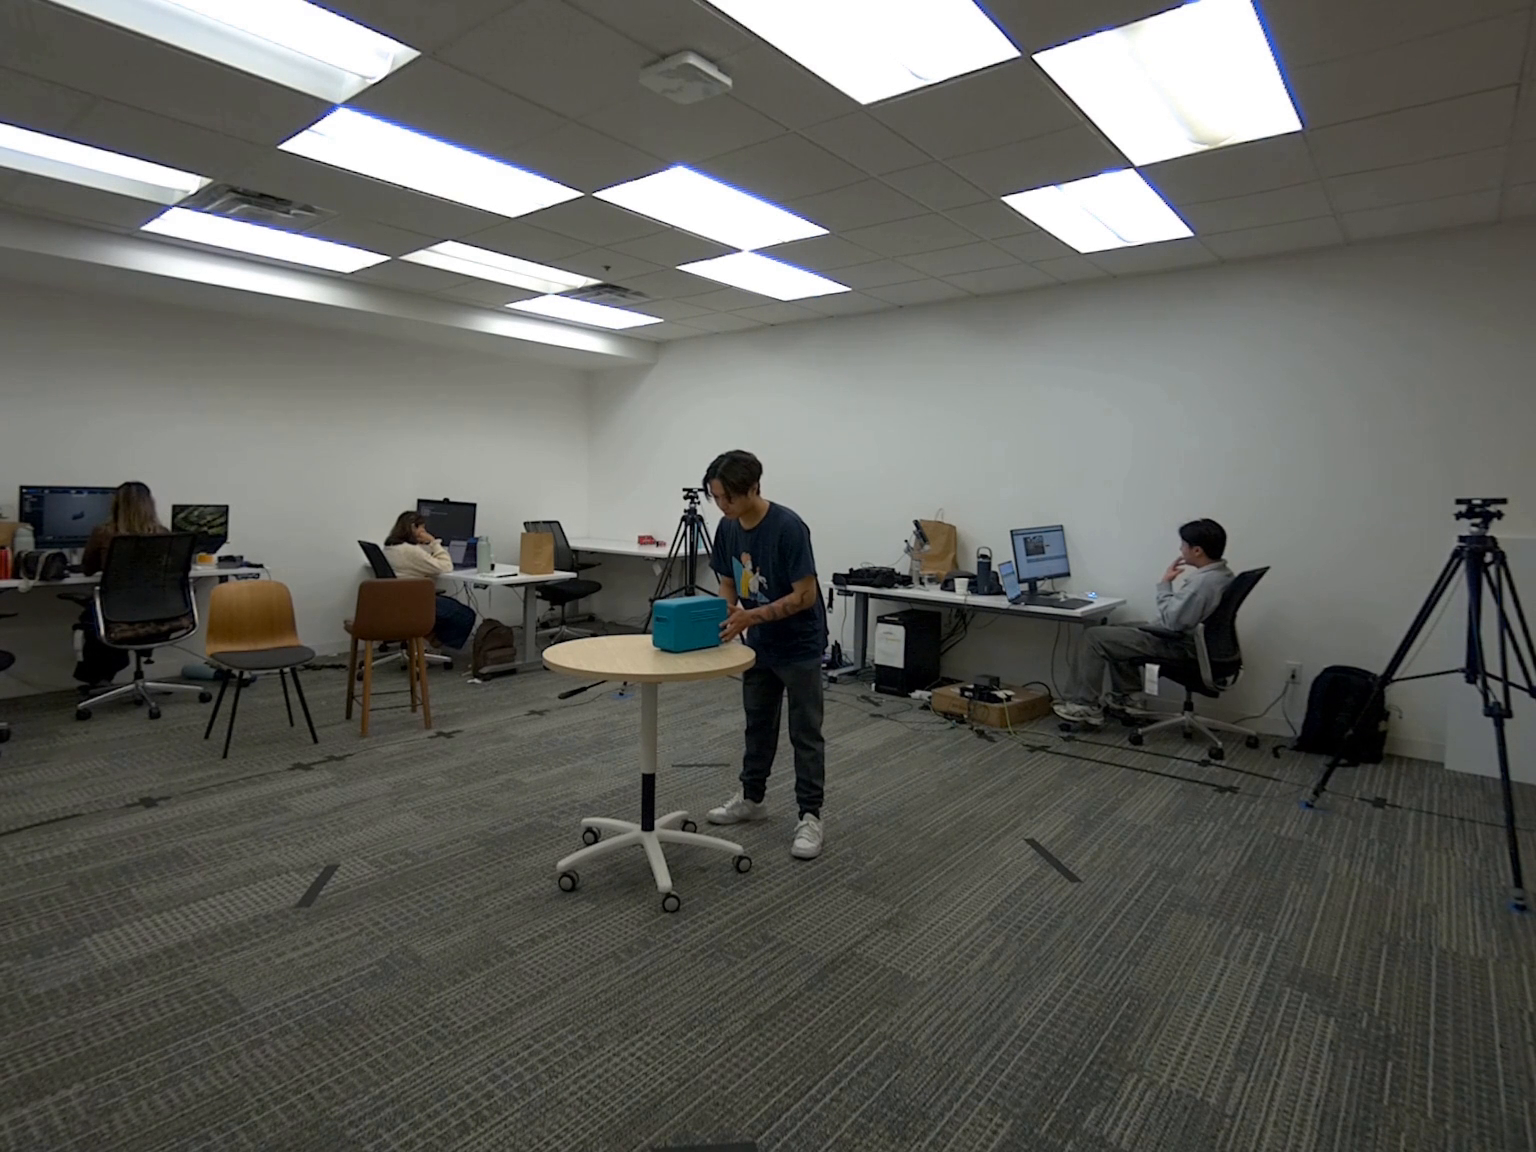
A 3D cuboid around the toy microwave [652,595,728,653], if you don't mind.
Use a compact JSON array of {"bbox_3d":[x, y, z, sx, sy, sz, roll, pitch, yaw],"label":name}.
[{"bbox_3d":[-0.313,0.175,3.183,0.157,0.183,0.277,4,5,41],"label":"toy microwave"}]
